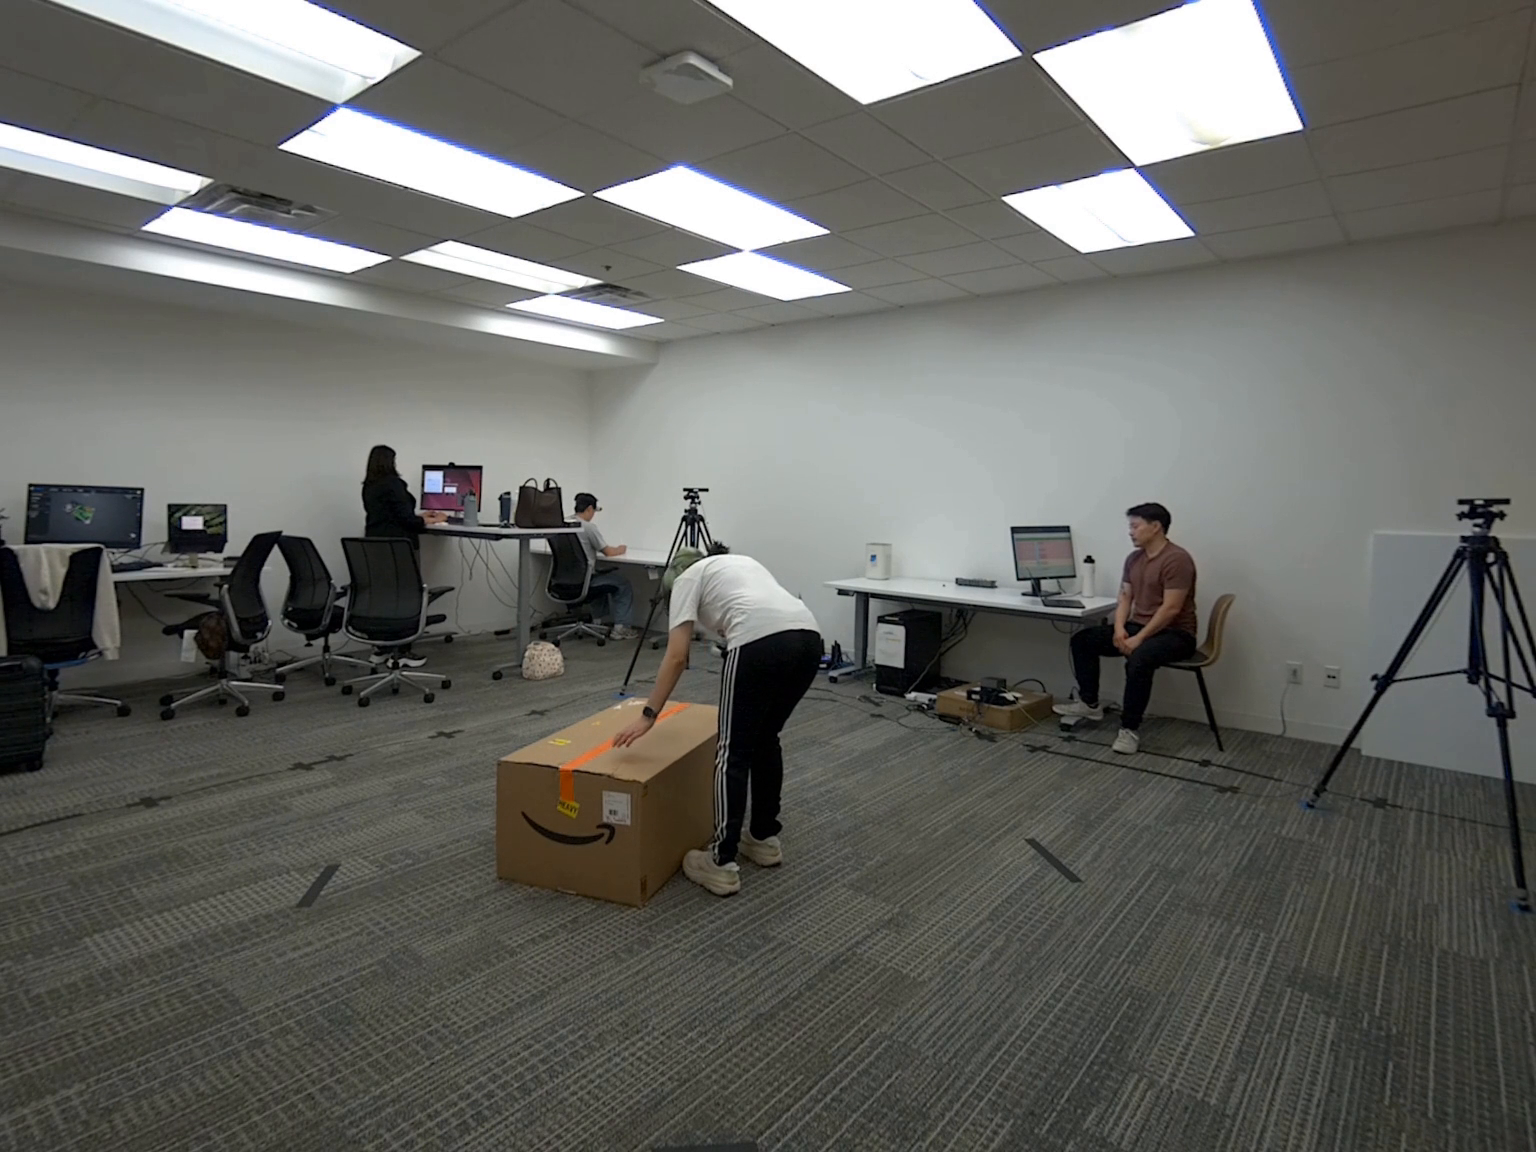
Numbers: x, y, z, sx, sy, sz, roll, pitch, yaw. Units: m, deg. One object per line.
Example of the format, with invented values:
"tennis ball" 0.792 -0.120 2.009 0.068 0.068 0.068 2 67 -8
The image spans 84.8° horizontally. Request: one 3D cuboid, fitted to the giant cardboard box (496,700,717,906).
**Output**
"giant cardboard box" -0.541 0.822 3.361 0.590 0.425 1.008 2 5 19
